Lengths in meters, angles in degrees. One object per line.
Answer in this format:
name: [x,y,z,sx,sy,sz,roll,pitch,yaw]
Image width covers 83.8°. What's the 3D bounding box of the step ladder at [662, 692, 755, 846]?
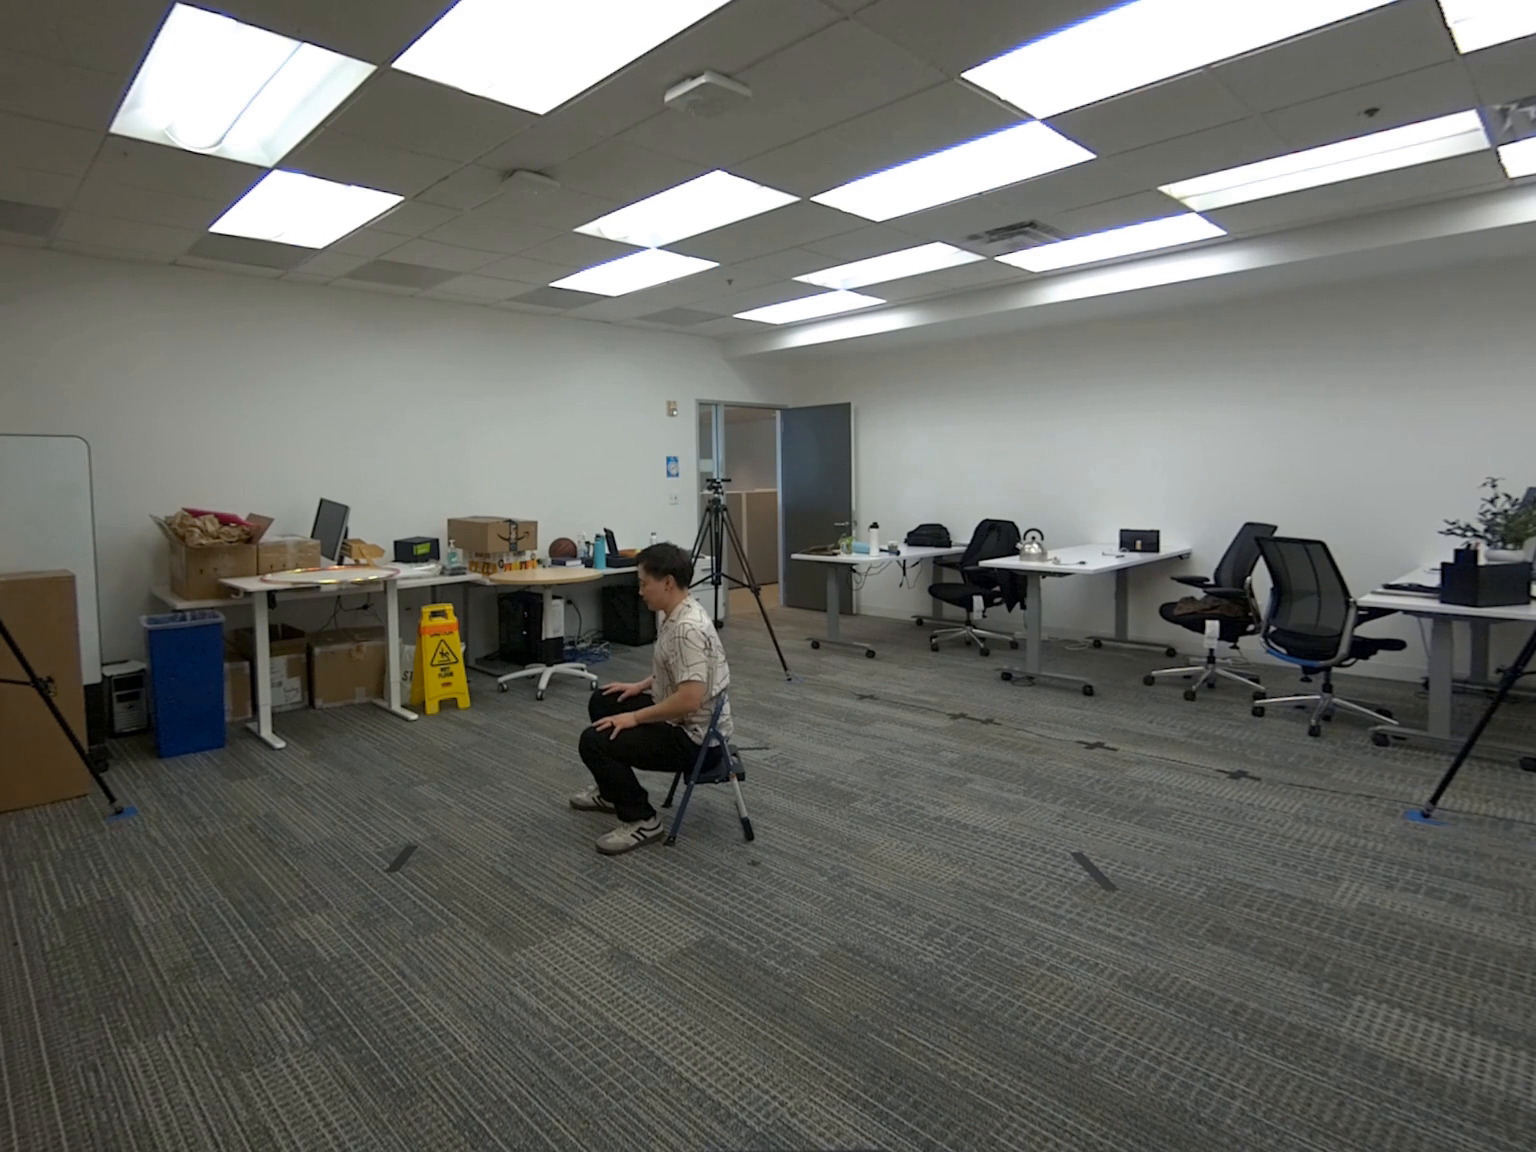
step ladder: [-0.253,0.709,3.465,0.347,0.604,0.435,-2,3,-8]
